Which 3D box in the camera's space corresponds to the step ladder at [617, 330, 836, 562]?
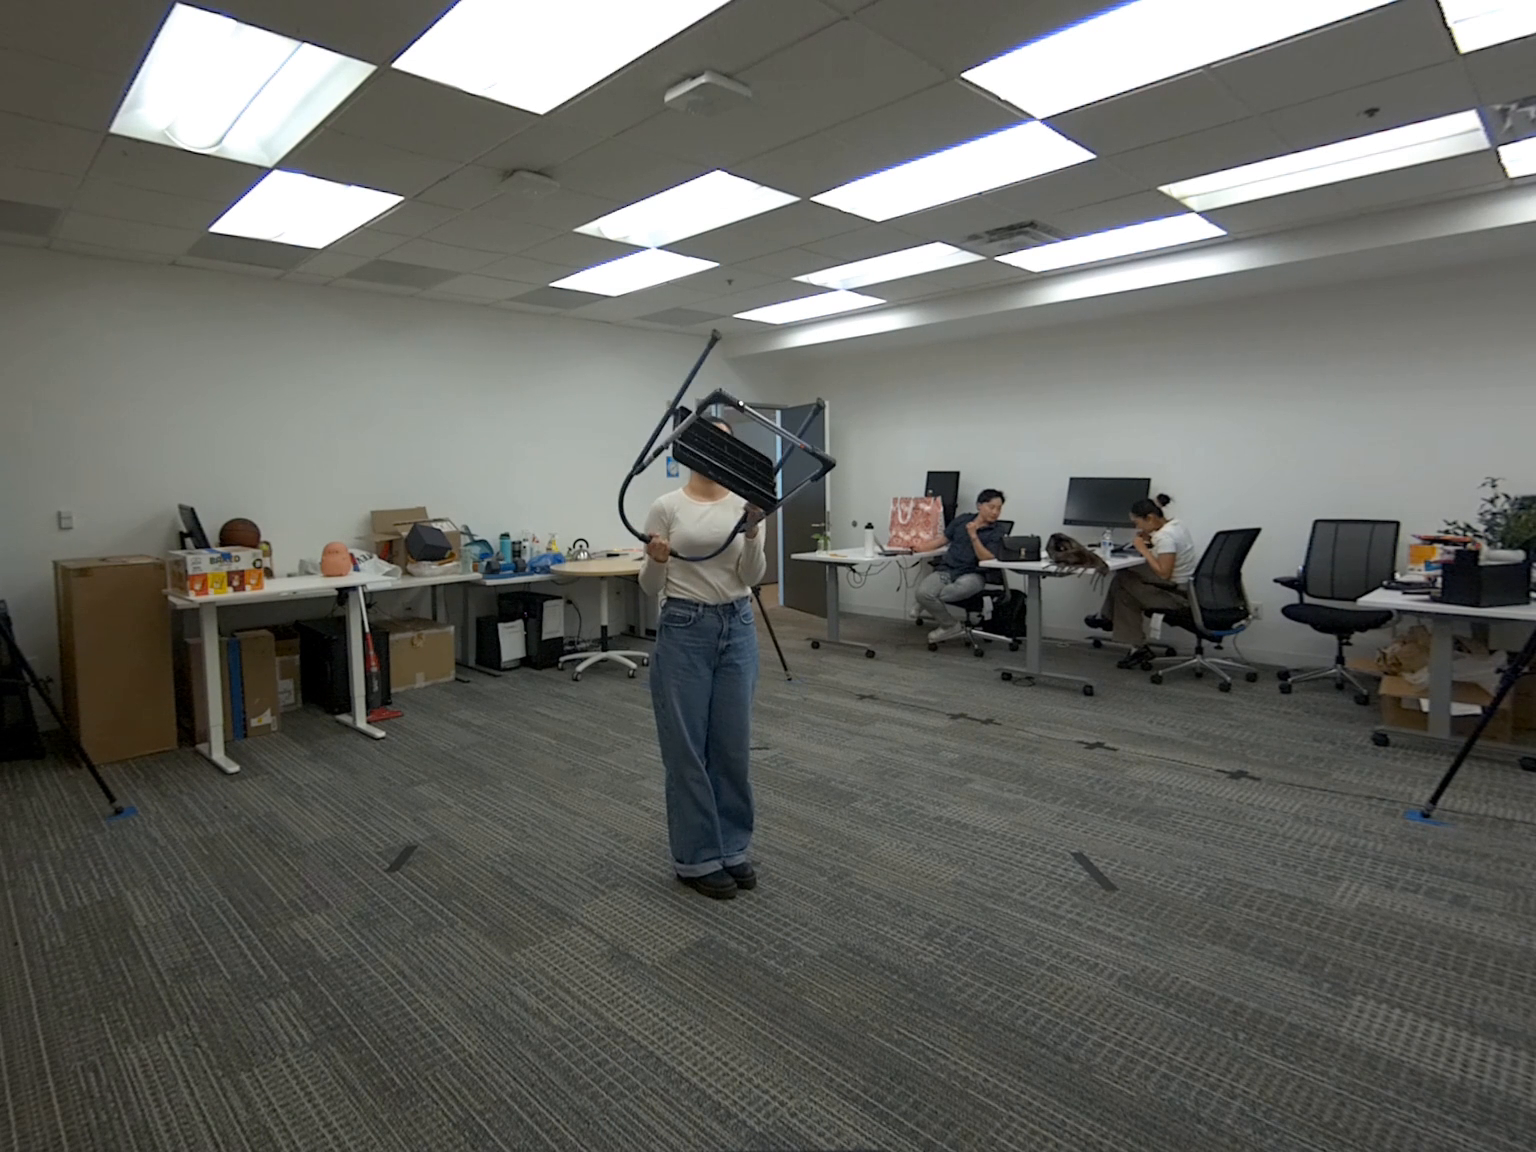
[{"bbox_3d":[-0.158,-0.320,2.565,0.419,0.606,0.359,28,34,-25],"label":"step ladder"}]
